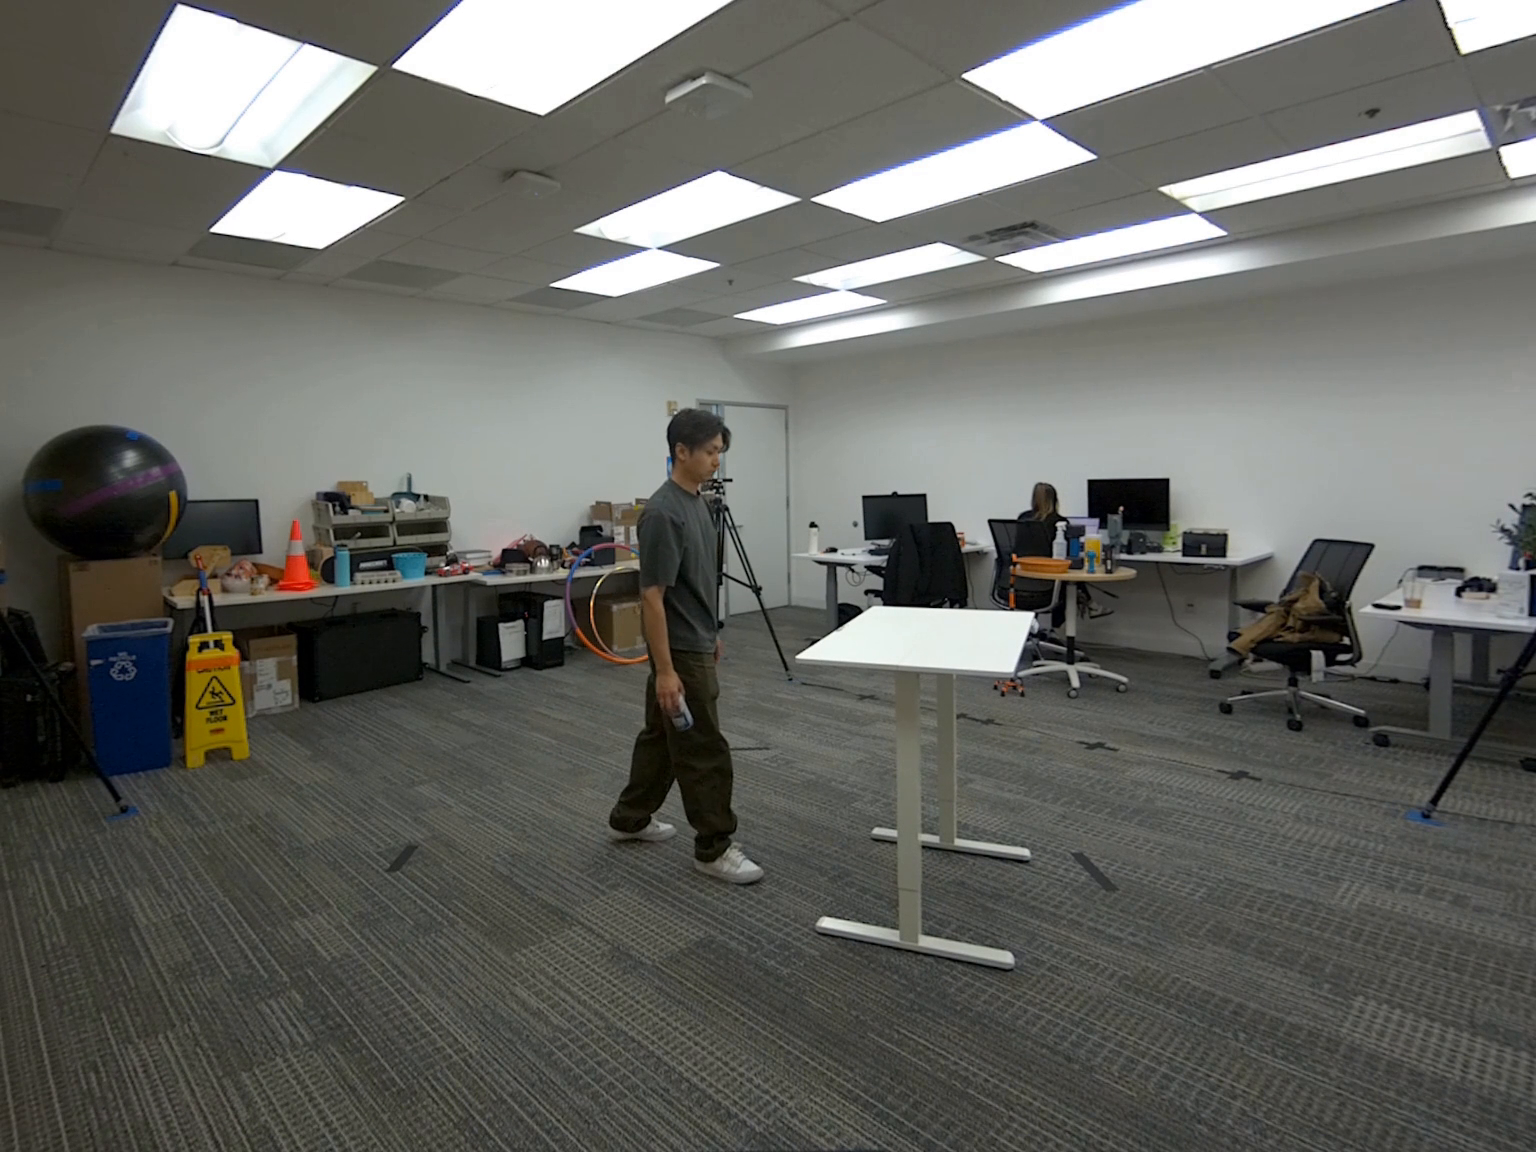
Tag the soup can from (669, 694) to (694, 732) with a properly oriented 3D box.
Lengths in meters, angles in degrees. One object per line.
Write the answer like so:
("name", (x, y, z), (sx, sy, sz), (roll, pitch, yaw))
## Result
("soup can", (-0.297, 0.467, 2.926), (0.067, 0.119, 0.068), (-14, 22, 4))
